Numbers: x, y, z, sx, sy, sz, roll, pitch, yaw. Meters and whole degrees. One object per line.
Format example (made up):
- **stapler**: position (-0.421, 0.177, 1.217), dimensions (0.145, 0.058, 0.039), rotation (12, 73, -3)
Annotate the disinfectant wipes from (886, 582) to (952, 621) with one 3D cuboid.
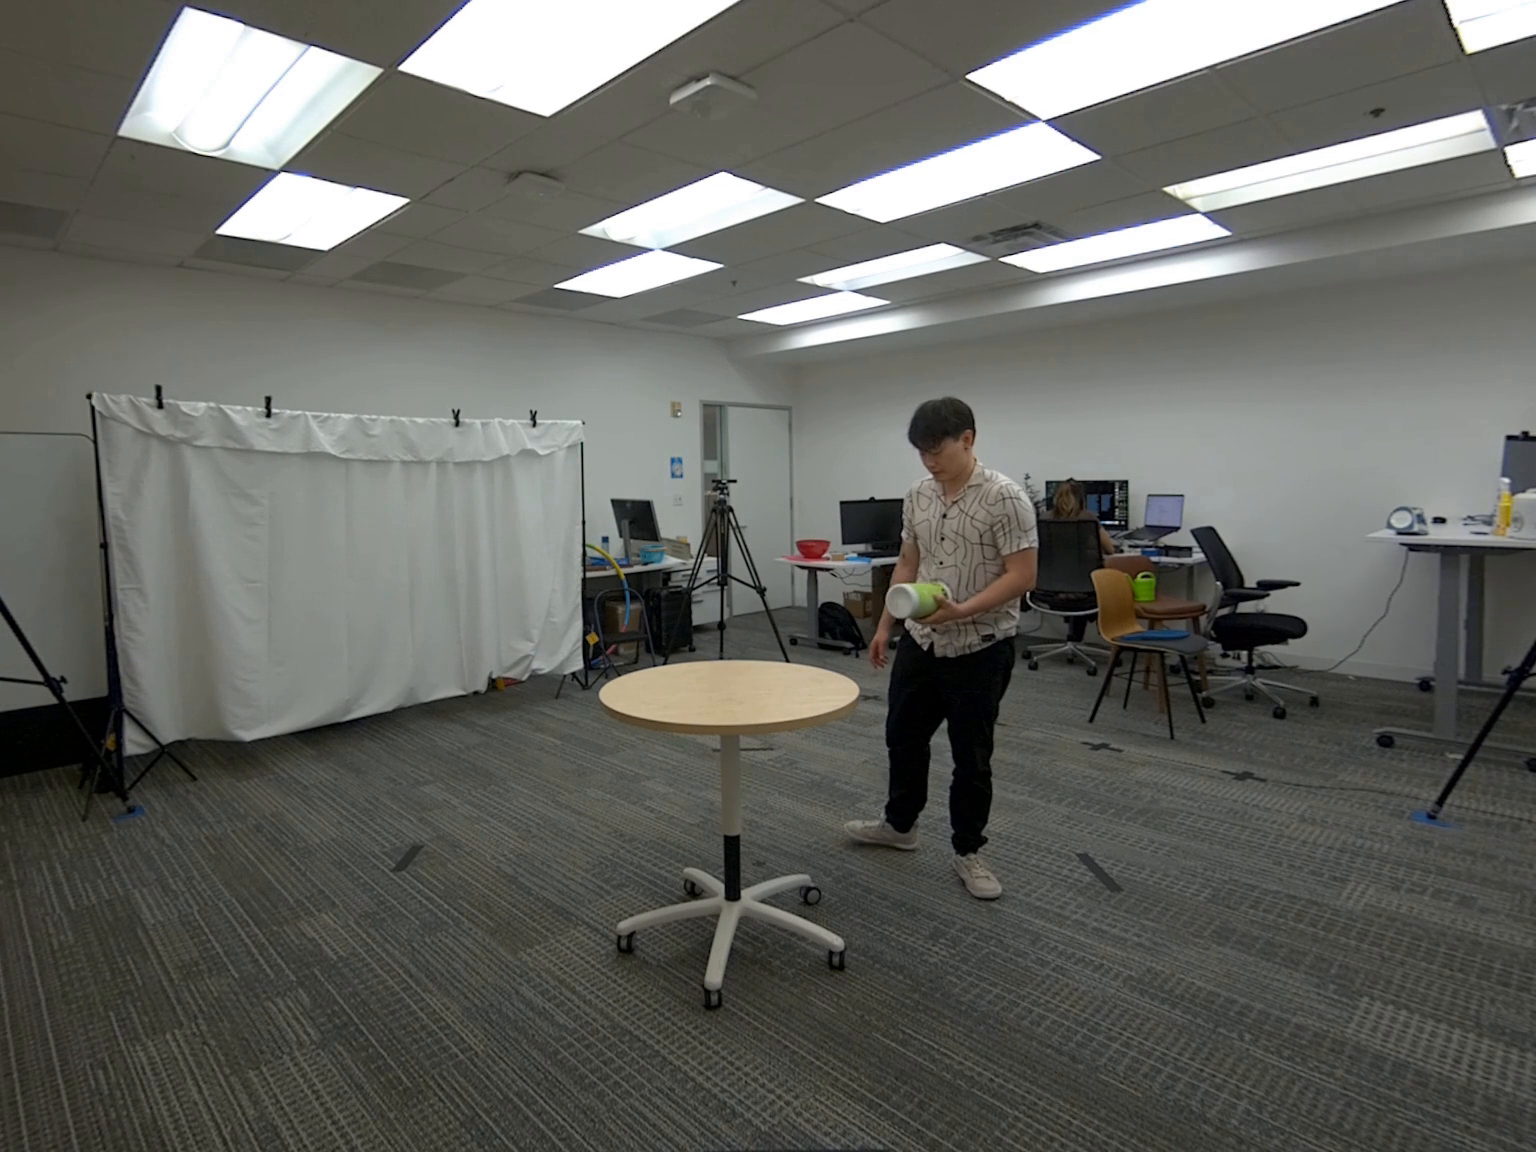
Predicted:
- **disinfectant wipes**: position (0.483, 0.074, 2.721), dimensions (0.211, 0.118, 0.121), rotation (2, 1, -41)
